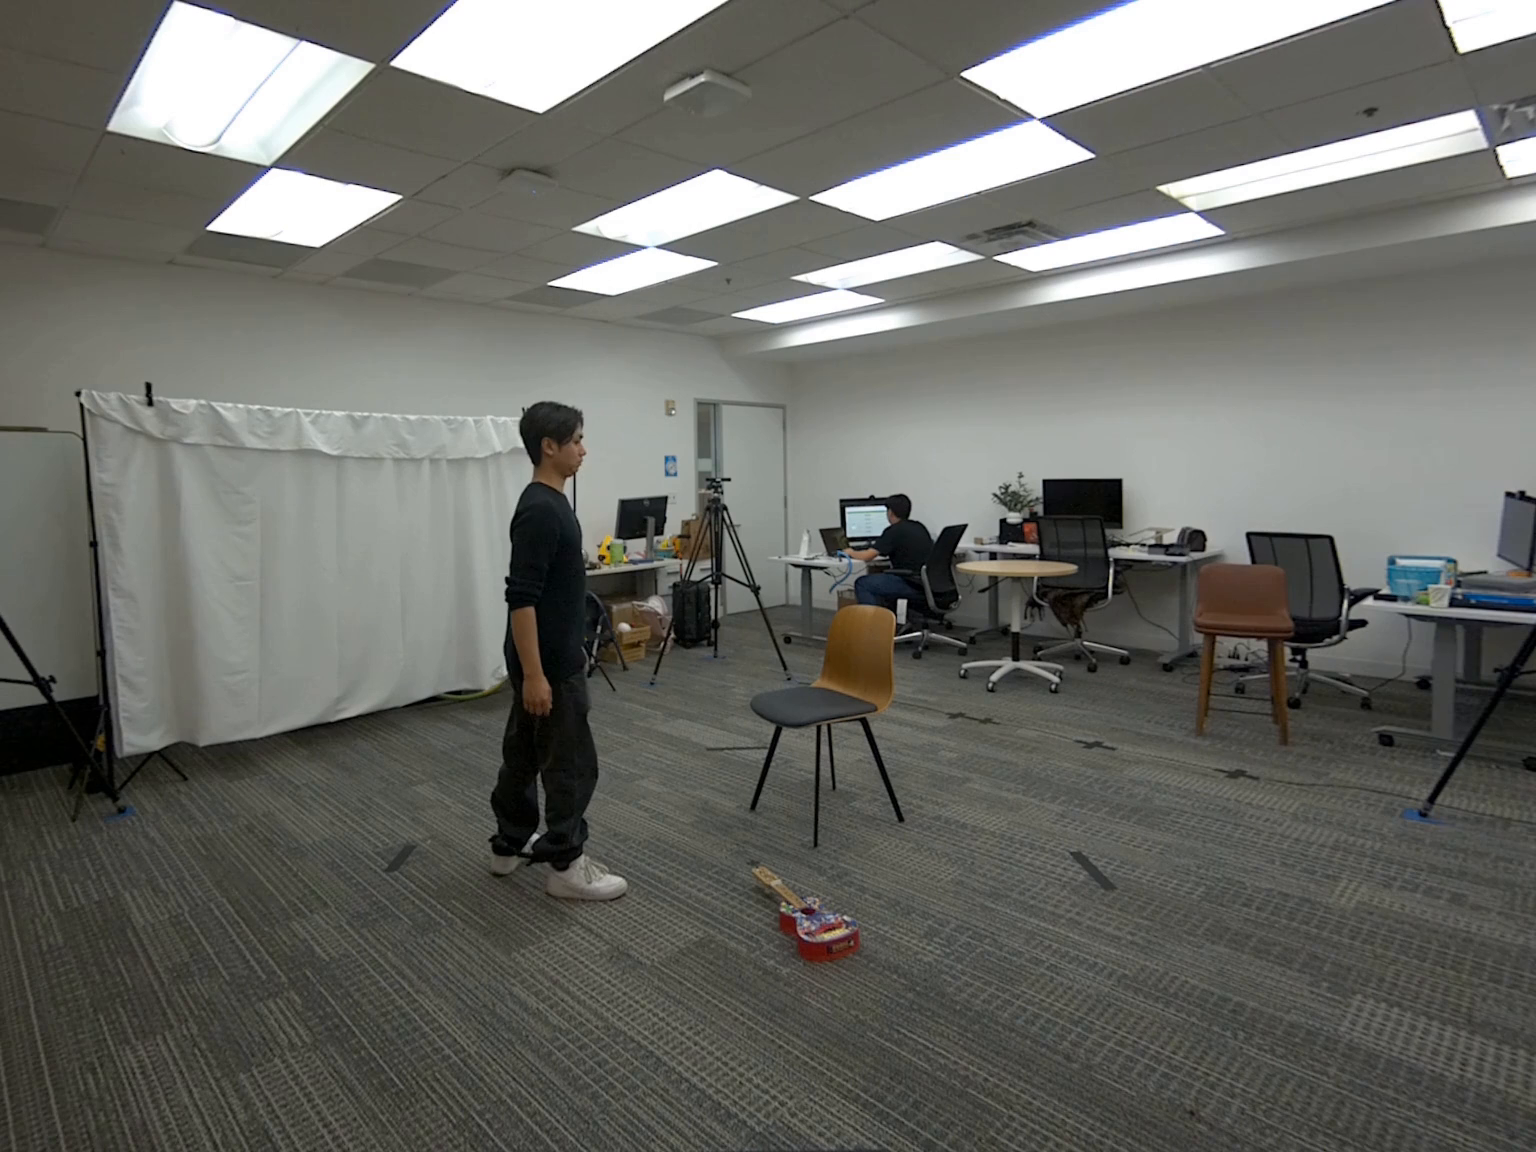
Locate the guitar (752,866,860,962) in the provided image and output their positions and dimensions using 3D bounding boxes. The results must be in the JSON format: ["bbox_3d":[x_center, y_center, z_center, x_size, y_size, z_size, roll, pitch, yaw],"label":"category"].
[{"bbox_3d":[0.119,1.053,2.705,0.190,0.070,0.509,-4,8,-20],"label":"guitar"}]
